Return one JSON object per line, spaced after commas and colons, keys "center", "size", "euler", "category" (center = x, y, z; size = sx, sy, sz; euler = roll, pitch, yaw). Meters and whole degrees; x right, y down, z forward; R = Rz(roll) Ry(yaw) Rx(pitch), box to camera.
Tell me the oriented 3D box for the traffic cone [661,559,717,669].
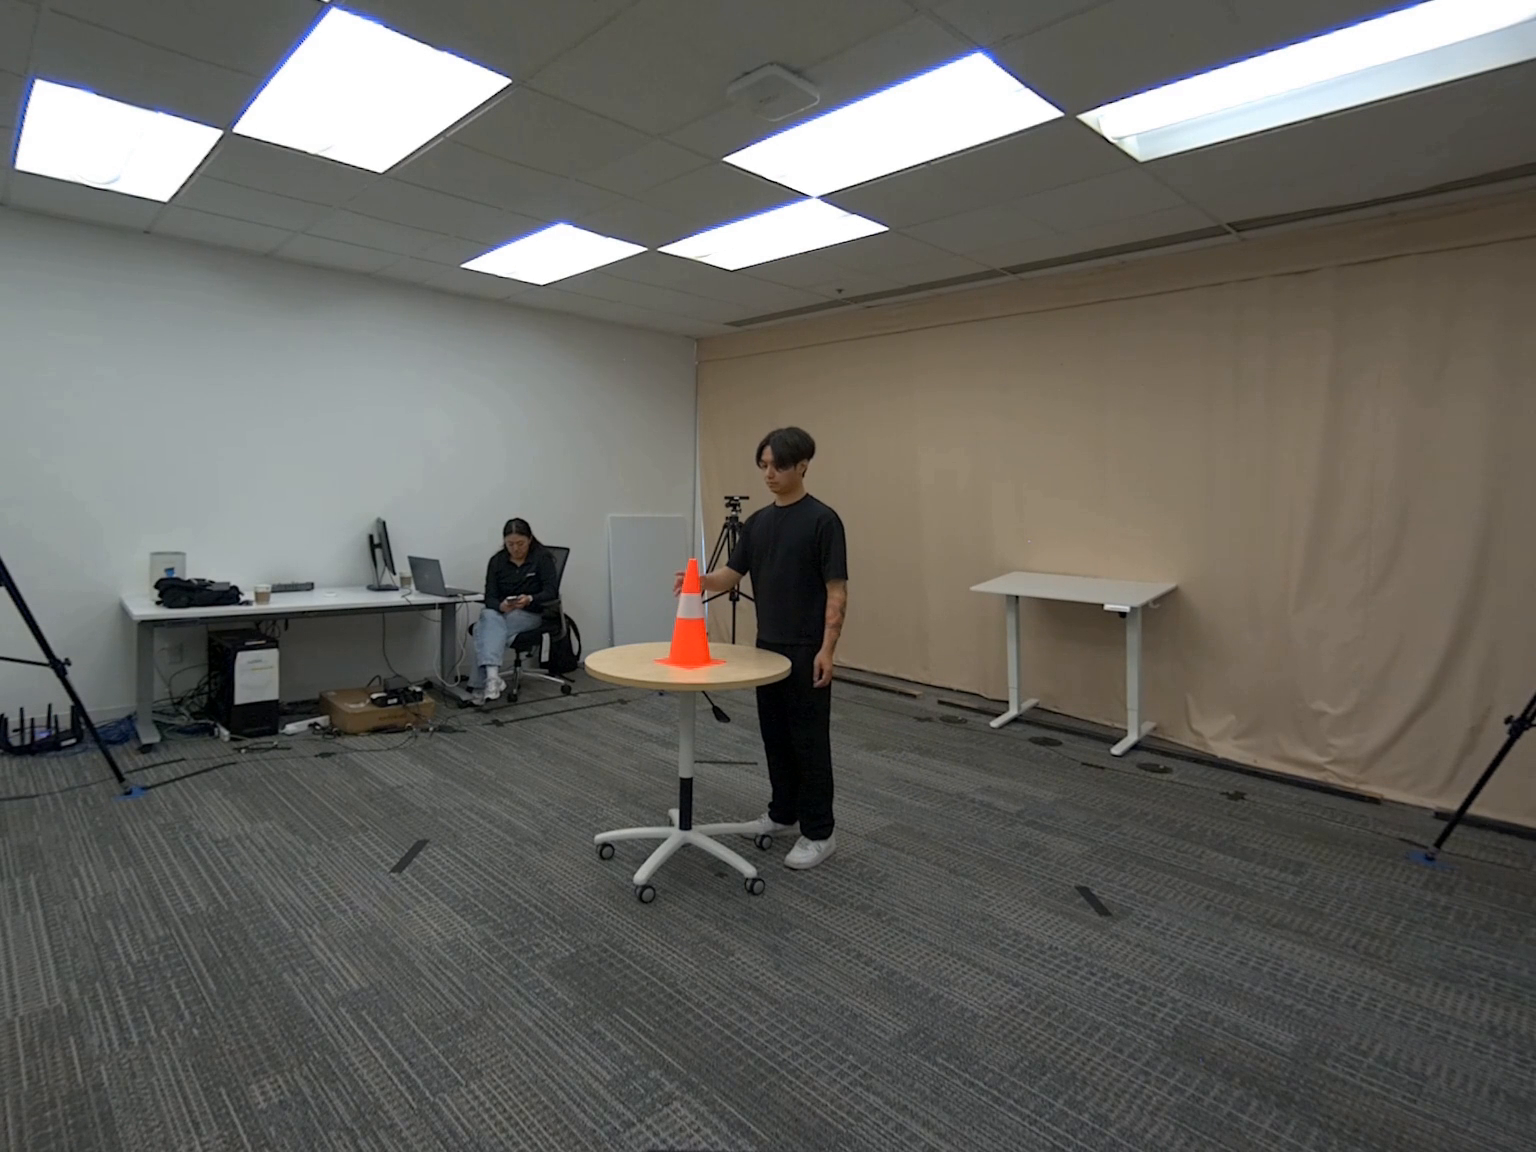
{"center": [-0.288, 0.132, 3.096], "size": [0.208, 0.383, 0.200], "euler": [5, 4, 38], "category": "traffic cone"}
